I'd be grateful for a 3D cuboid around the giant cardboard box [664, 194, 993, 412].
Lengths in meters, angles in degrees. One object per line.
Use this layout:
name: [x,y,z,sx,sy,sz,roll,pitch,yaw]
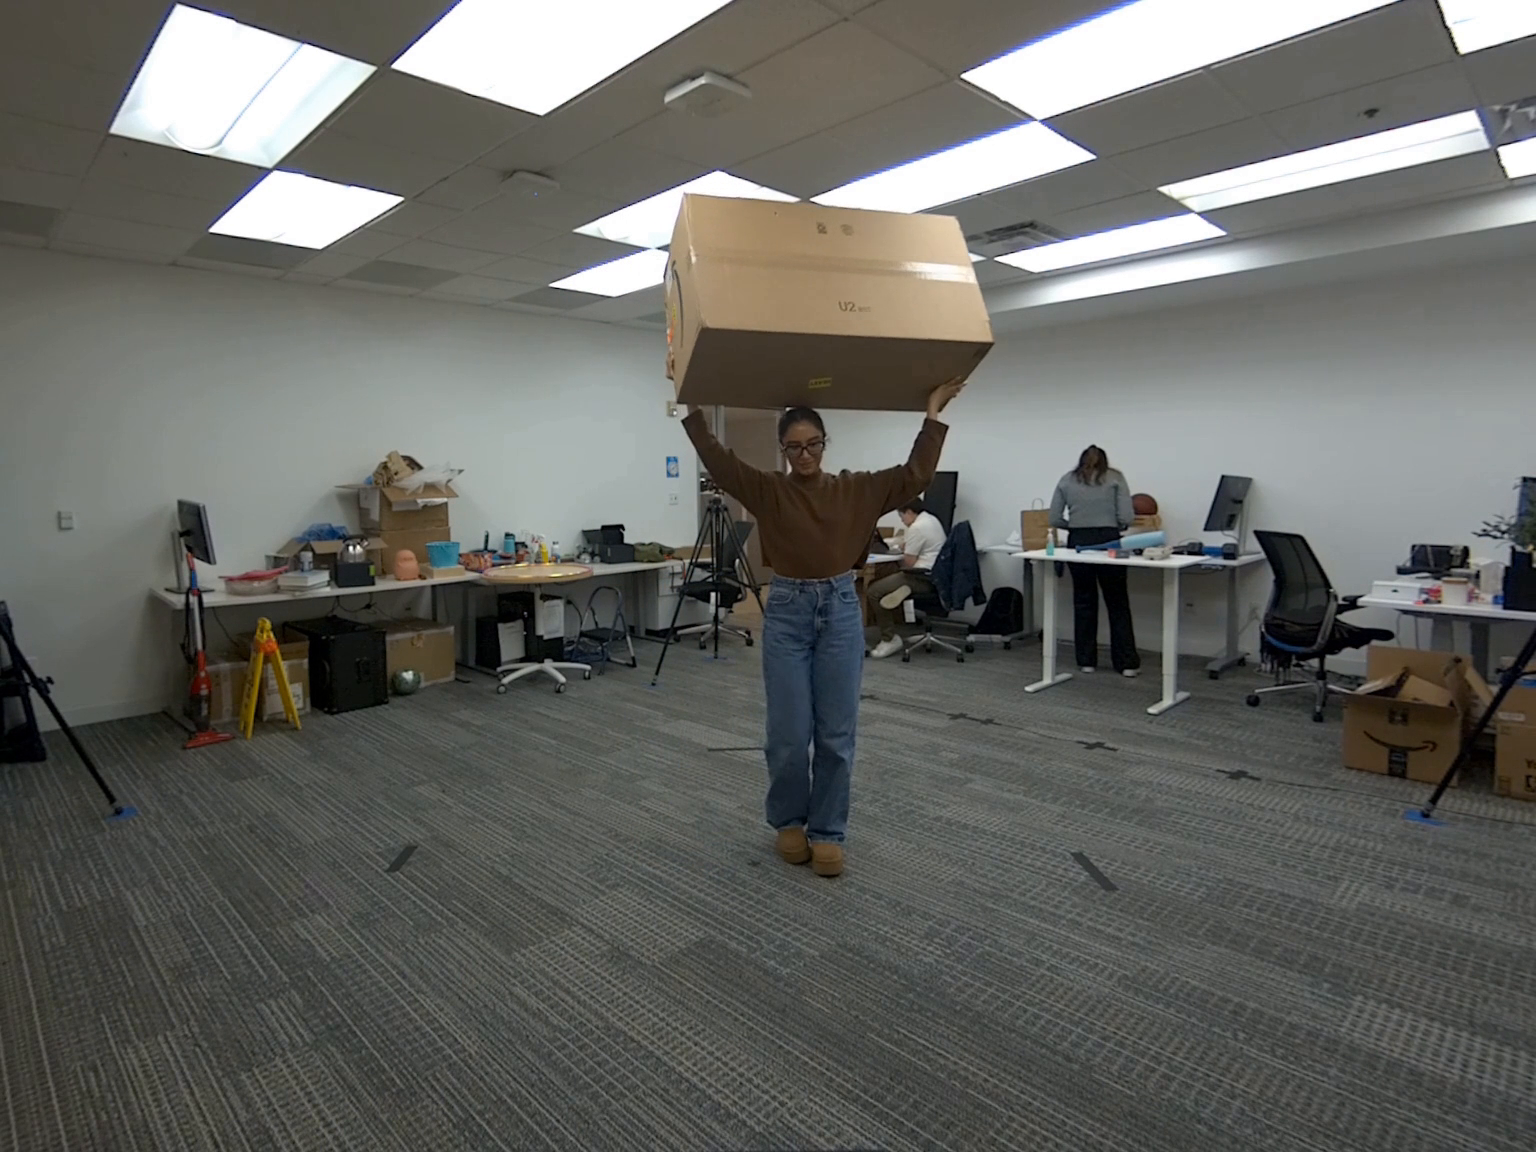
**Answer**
giant cardboard box: [0.179,-0.945,3.037,1.011,0.591,0.422,-1,-25,-16]
